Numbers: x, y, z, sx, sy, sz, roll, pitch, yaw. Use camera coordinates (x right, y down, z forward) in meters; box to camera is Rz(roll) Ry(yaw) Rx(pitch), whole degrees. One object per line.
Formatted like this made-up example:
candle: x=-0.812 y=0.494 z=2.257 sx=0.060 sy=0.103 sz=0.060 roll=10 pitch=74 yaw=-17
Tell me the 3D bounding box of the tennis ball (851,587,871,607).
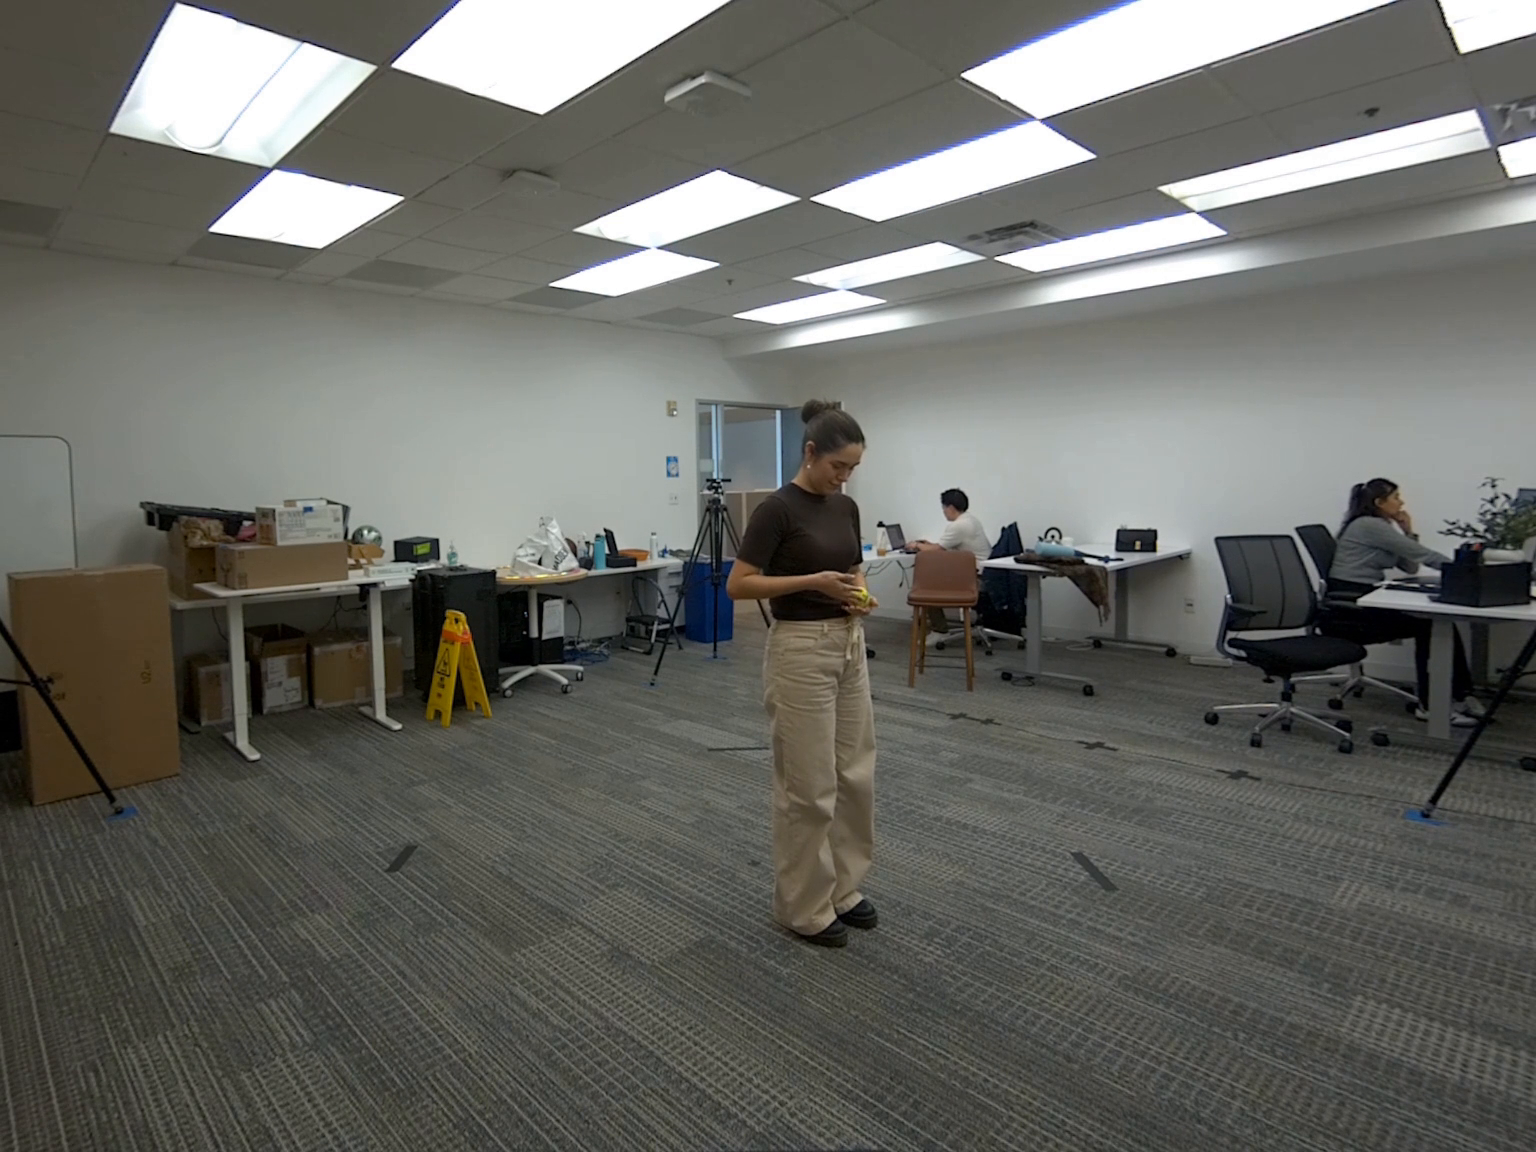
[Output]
tennis ball: x=0.242 y=0.064 z=2.545 sx=0.066 sy=0.066 sz=0.067 roll=-1 pitch=5 yaw=-2
